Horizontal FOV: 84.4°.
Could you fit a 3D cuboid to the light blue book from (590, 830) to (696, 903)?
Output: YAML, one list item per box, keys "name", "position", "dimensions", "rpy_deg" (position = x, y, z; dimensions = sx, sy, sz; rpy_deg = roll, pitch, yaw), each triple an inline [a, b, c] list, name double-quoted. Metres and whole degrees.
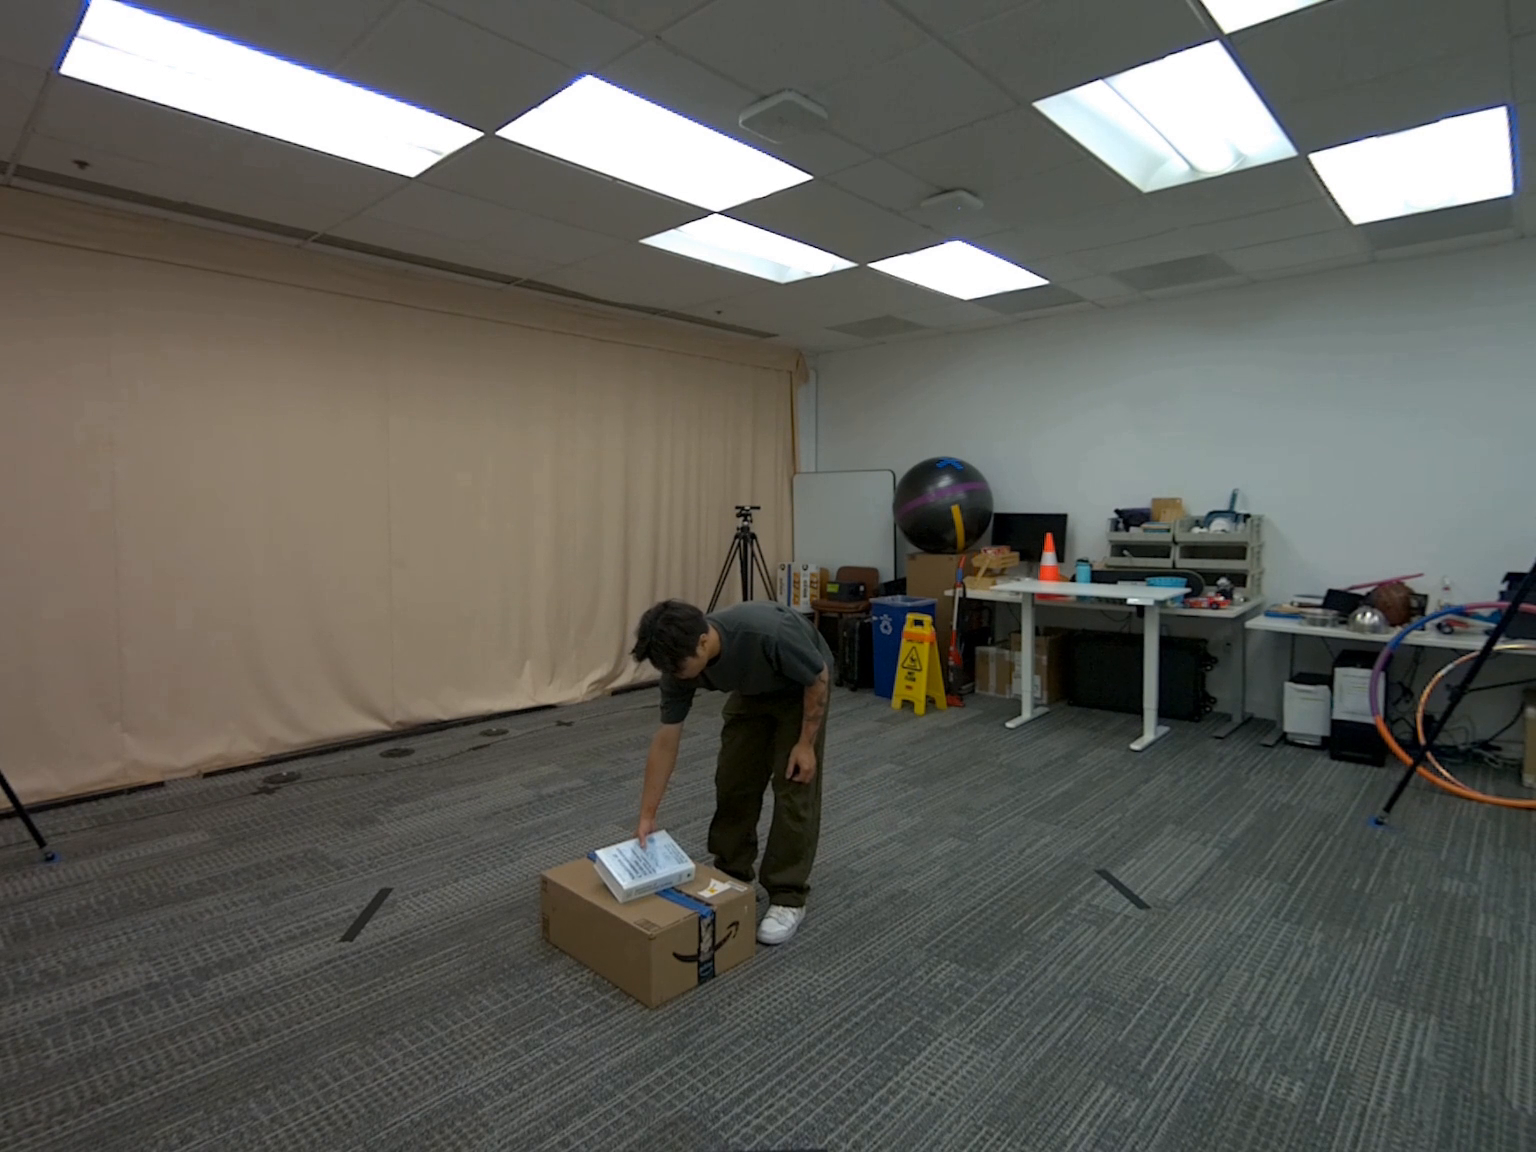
- name: "light blue book"
  position: [-0.387, 0.909, 2.627]
  dimensions: [0.254, 0.058, 0.198]
  rpy_deg: [-3, 22, -32]
